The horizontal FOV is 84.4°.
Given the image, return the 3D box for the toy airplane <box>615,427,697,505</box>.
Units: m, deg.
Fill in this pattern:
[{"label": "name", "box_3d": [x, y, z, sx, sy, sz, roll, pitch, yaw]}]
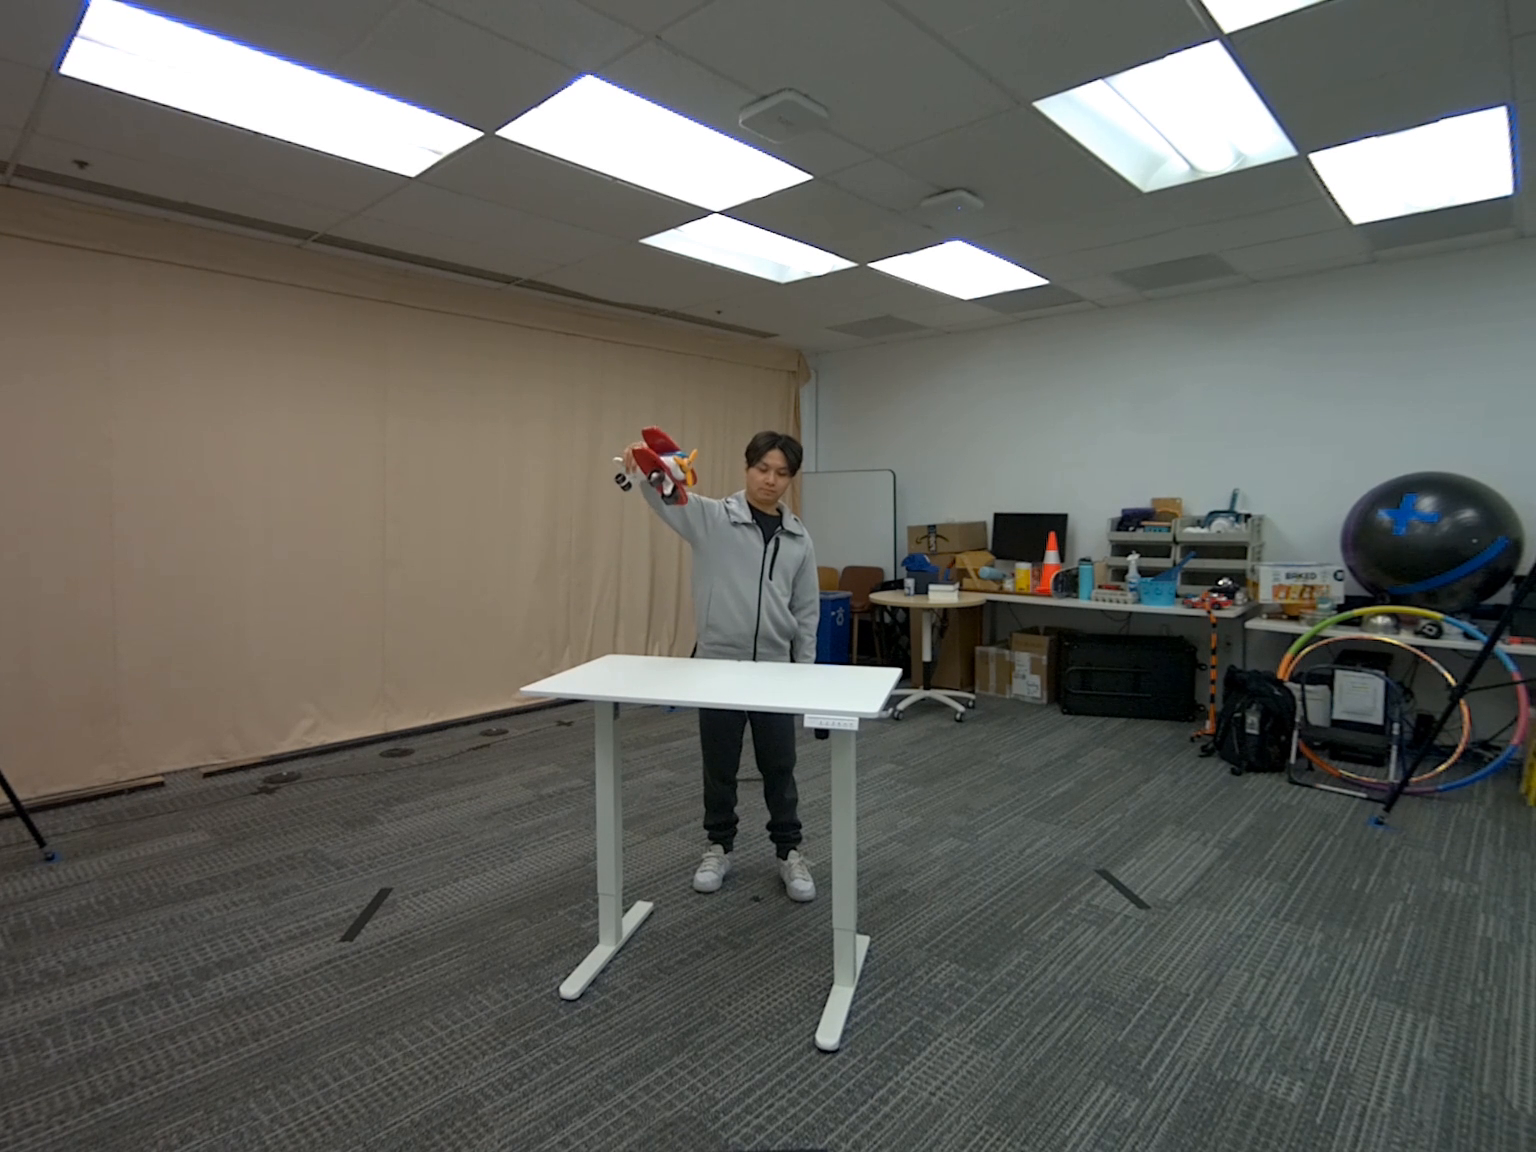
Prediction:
[{"label": "toy airplane", "box_3d": [-0.354, -0.324, 2.514, 0.264, 0.156, 0.246, 28, -23, 15]}]
